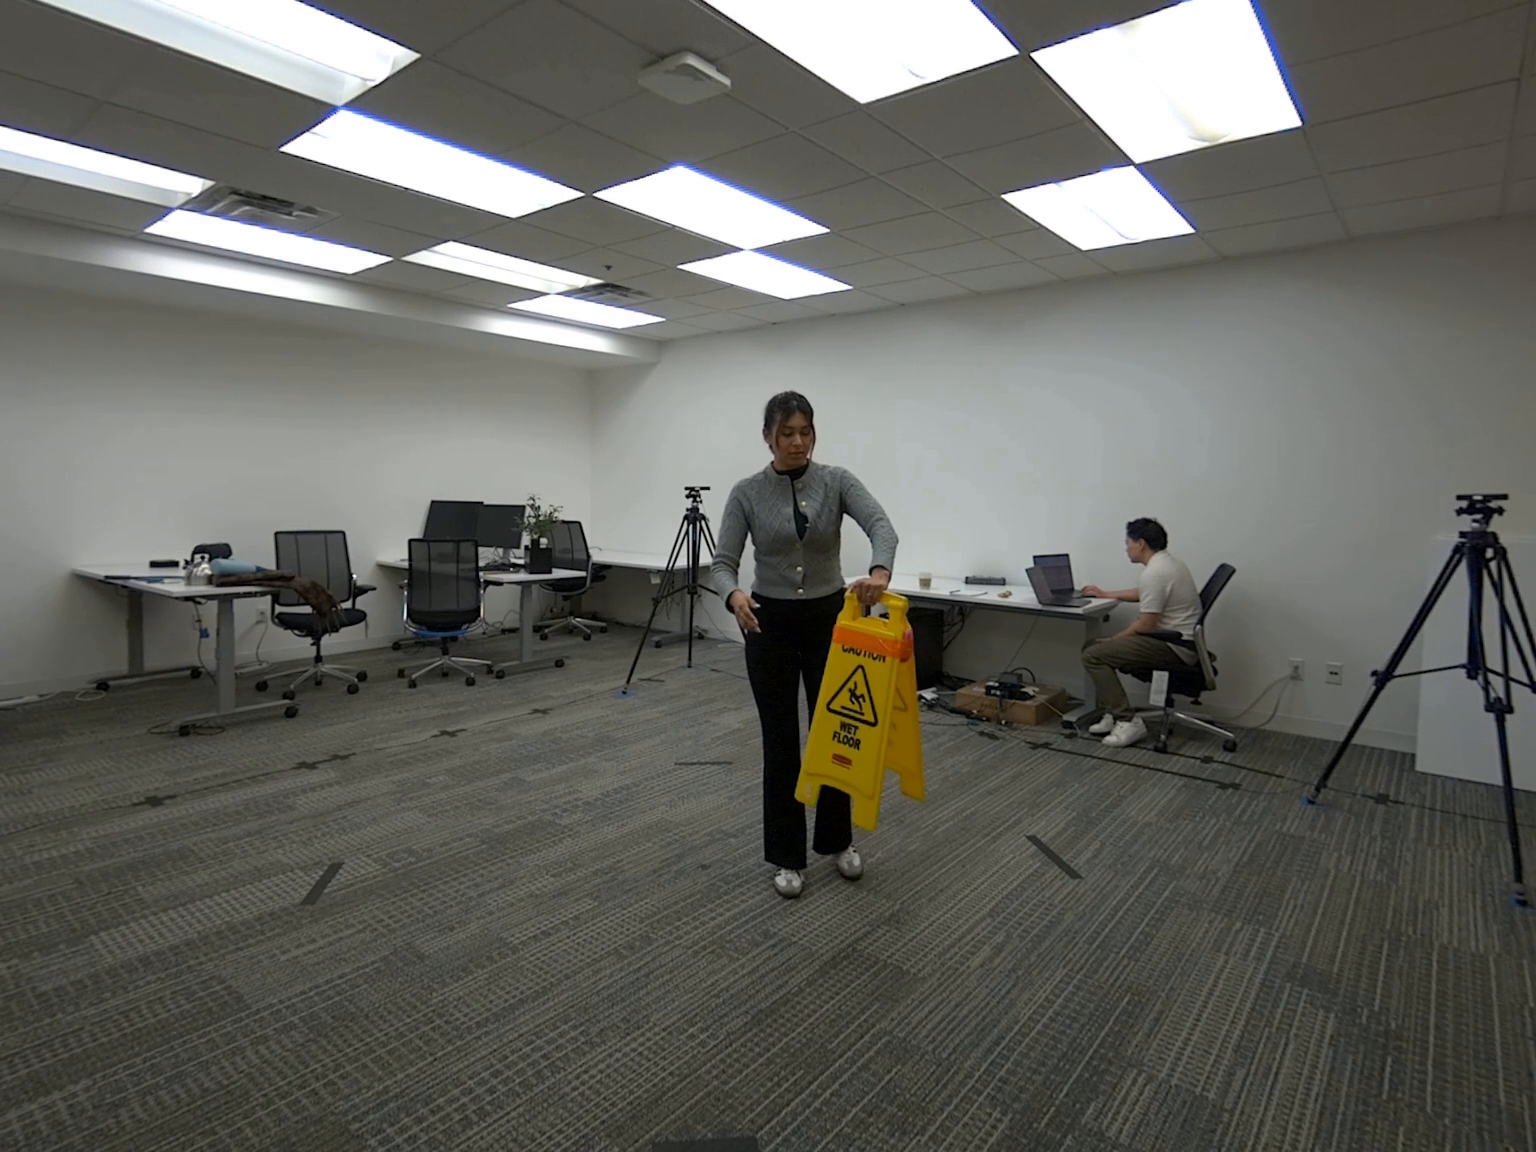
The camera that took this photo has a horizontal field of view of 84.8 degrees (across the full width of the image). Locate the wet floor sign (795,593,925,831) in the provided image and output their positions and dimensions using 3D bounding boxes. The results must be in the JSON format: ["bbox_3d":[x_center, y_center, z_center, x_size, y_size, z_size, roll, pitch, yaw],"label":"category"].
[{"bbox_3d":[0.290,0.358,2.522,0.292,0.641,0.282,10,11,39],"label":"wet floor sign"}]
